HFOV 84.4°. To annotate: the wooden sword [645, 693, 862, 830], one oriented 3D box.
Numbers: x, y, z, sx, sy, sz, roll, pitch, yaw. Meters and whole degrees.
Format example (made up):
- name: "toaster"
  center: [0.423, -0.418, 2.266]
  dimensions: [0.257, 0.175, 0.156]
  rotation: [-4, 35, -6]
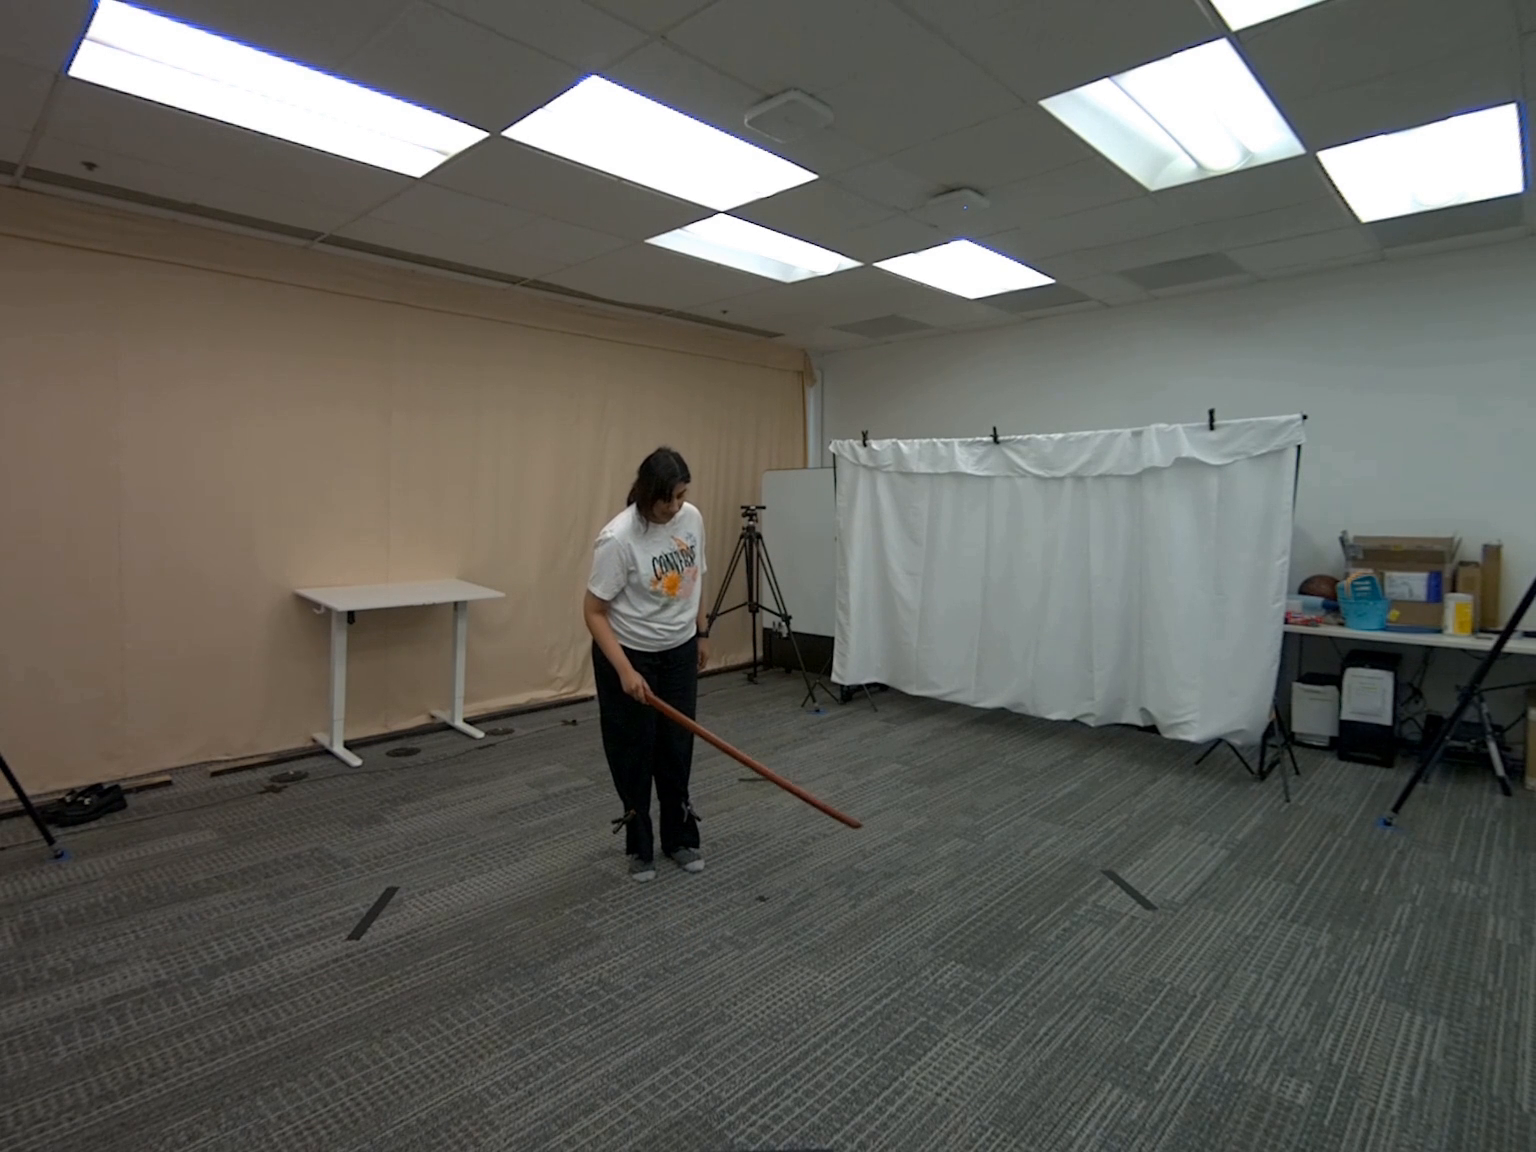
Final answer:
- name: "wooden sword"
  center: [-0.080, 0.566, 2.658]
  dimensions: [1.061, 0.050, 0.024]
  rotation: [21, 56, 36]
